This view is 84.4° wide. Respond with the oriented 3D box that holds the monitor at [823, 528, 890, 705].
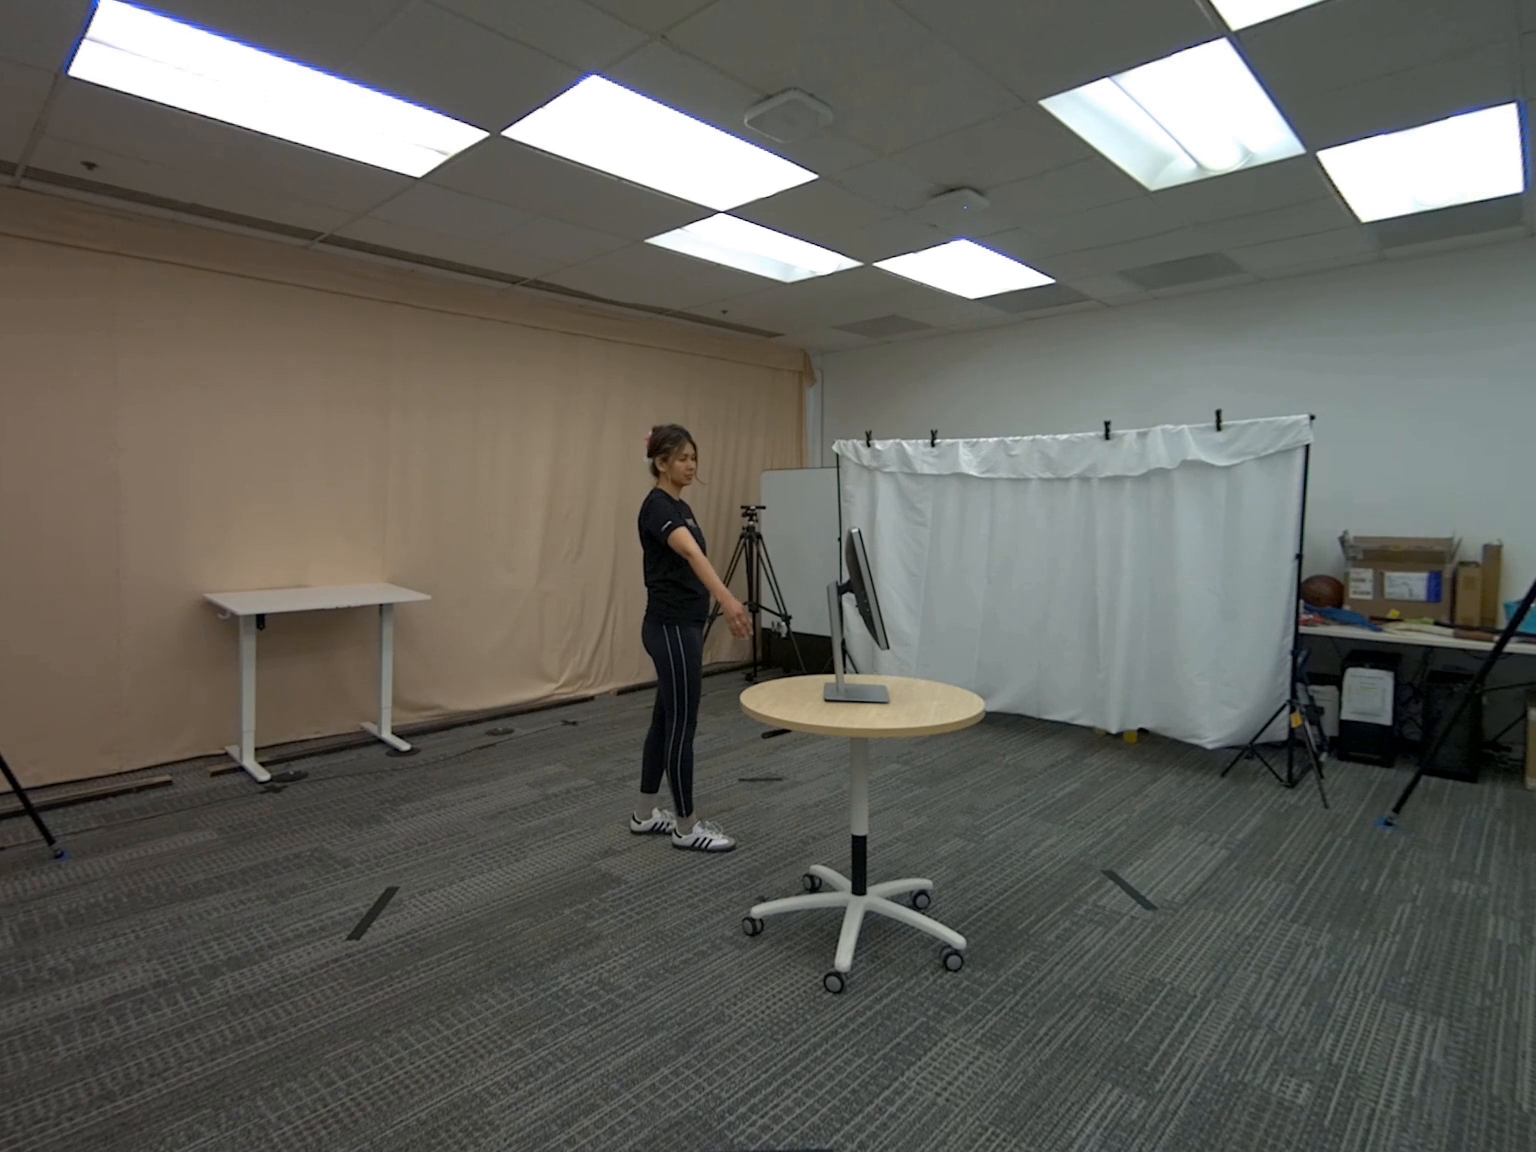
[{"bbox_3d":[0.285,0.121,2.724,0.188,0.522,0.537,0,3,3],"label":"monitor"}]
